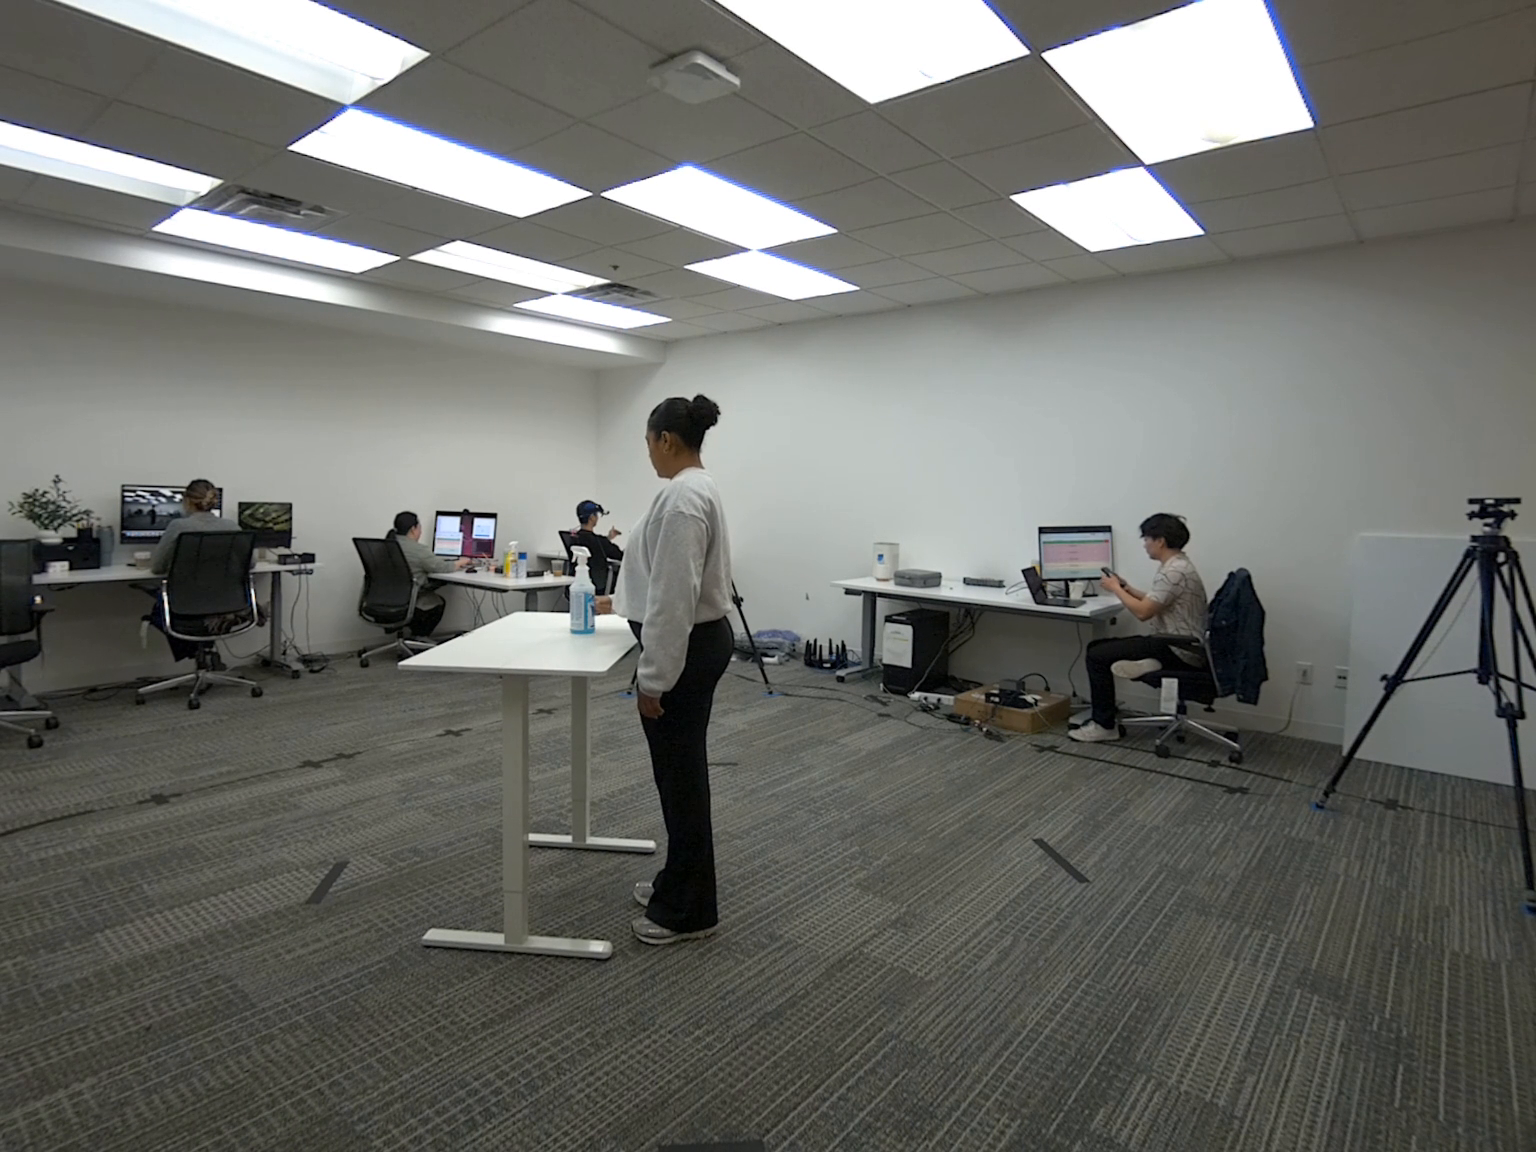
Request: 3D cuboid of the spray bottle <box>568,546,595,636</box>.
[{"bbox_3d":[-0.652,0.048,2.937,0.085,0.296,0.093,1,3,-28],"label":"spray bottle"}]
